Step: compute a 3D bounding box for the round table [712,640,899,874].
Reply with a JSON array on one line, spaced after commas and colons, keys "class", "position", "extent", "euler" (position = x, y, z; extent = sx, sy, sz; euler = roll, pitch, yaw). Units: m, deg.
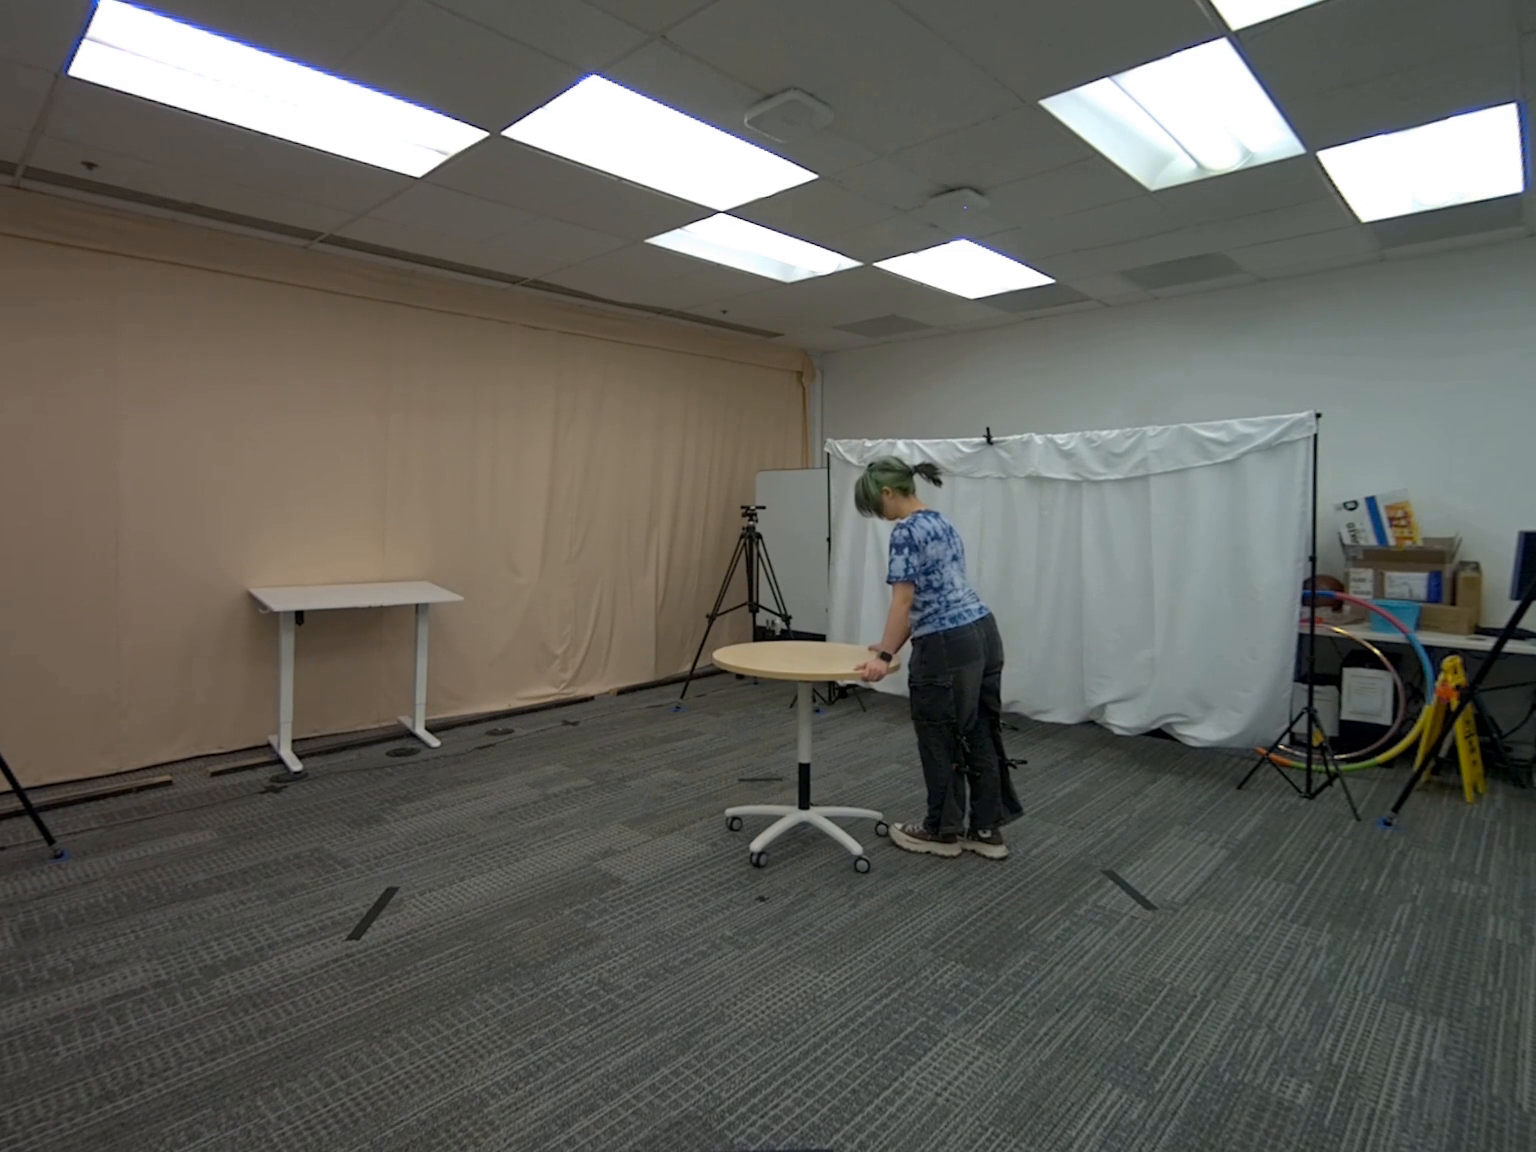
[{"class": "round table", "position": [0.154, 0.720, 3.480], "extent": [0.763, 0.792, 0.767], "euler": [1, 4, -2]}]
